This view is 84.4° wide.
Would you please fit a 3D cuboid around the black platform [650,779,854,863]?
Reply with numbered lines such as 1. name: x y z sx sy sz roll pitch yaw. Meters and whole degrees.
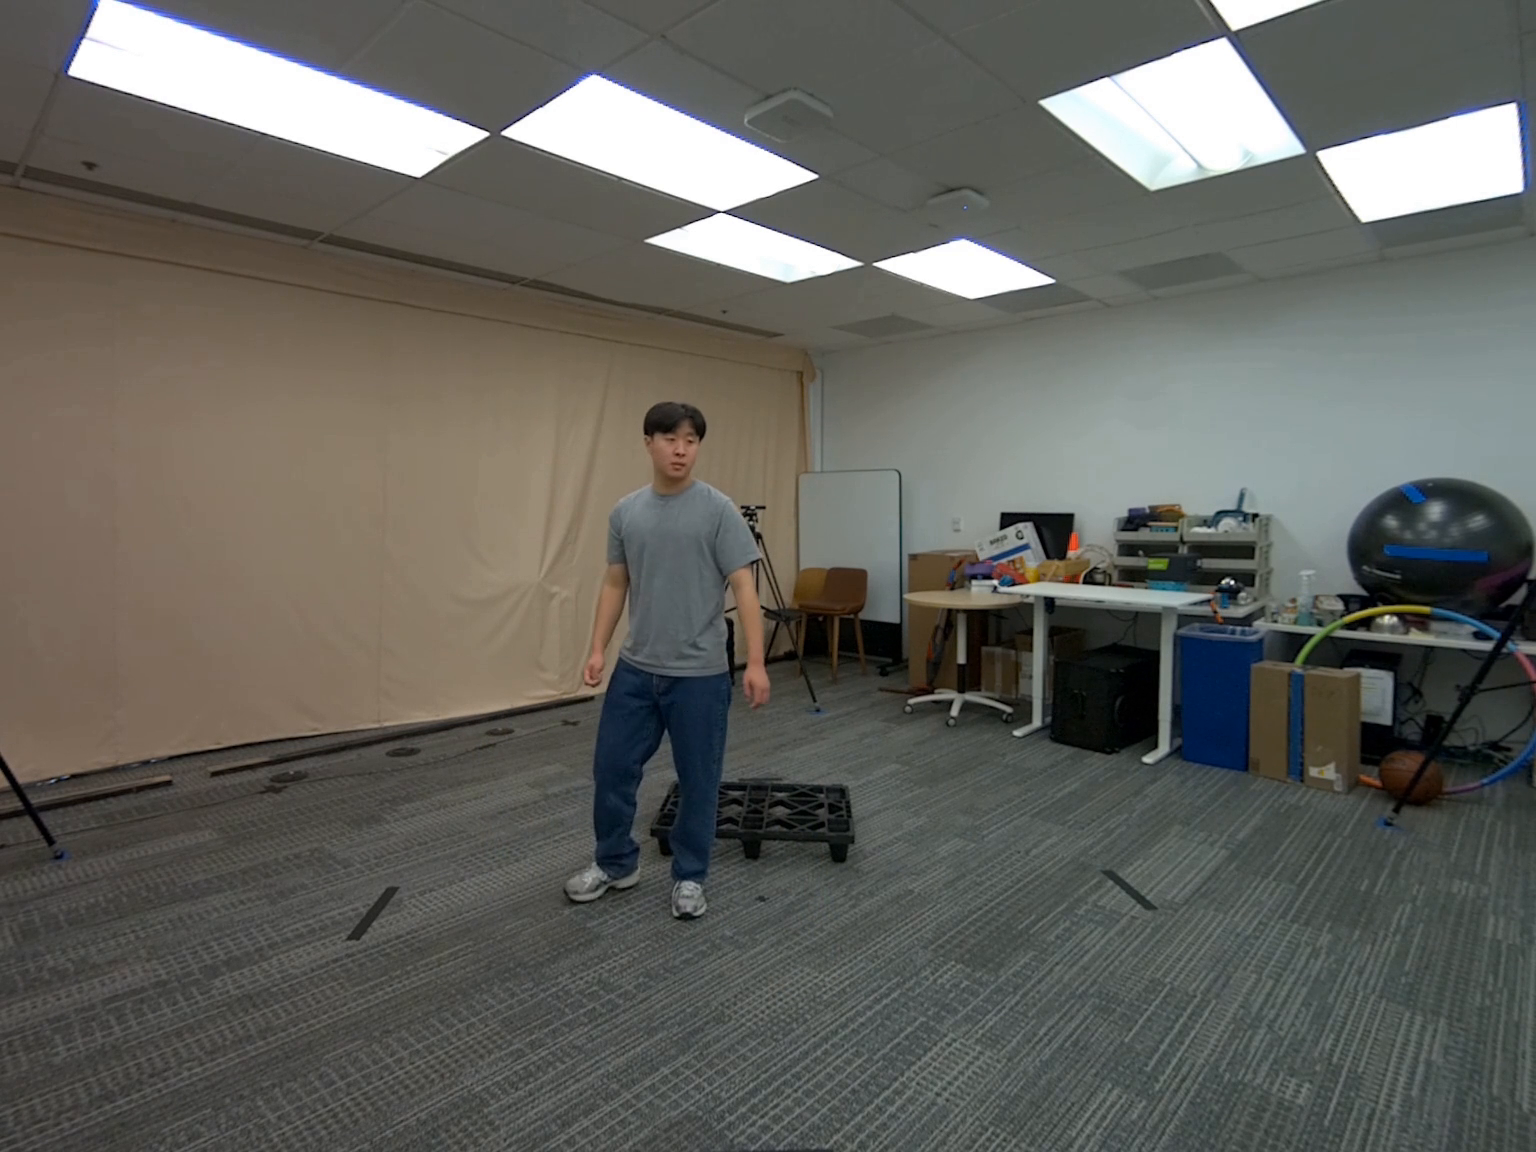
1. black platform: -0.045 1.027 3.539 0.811 0.143 0.603 0 5 5
